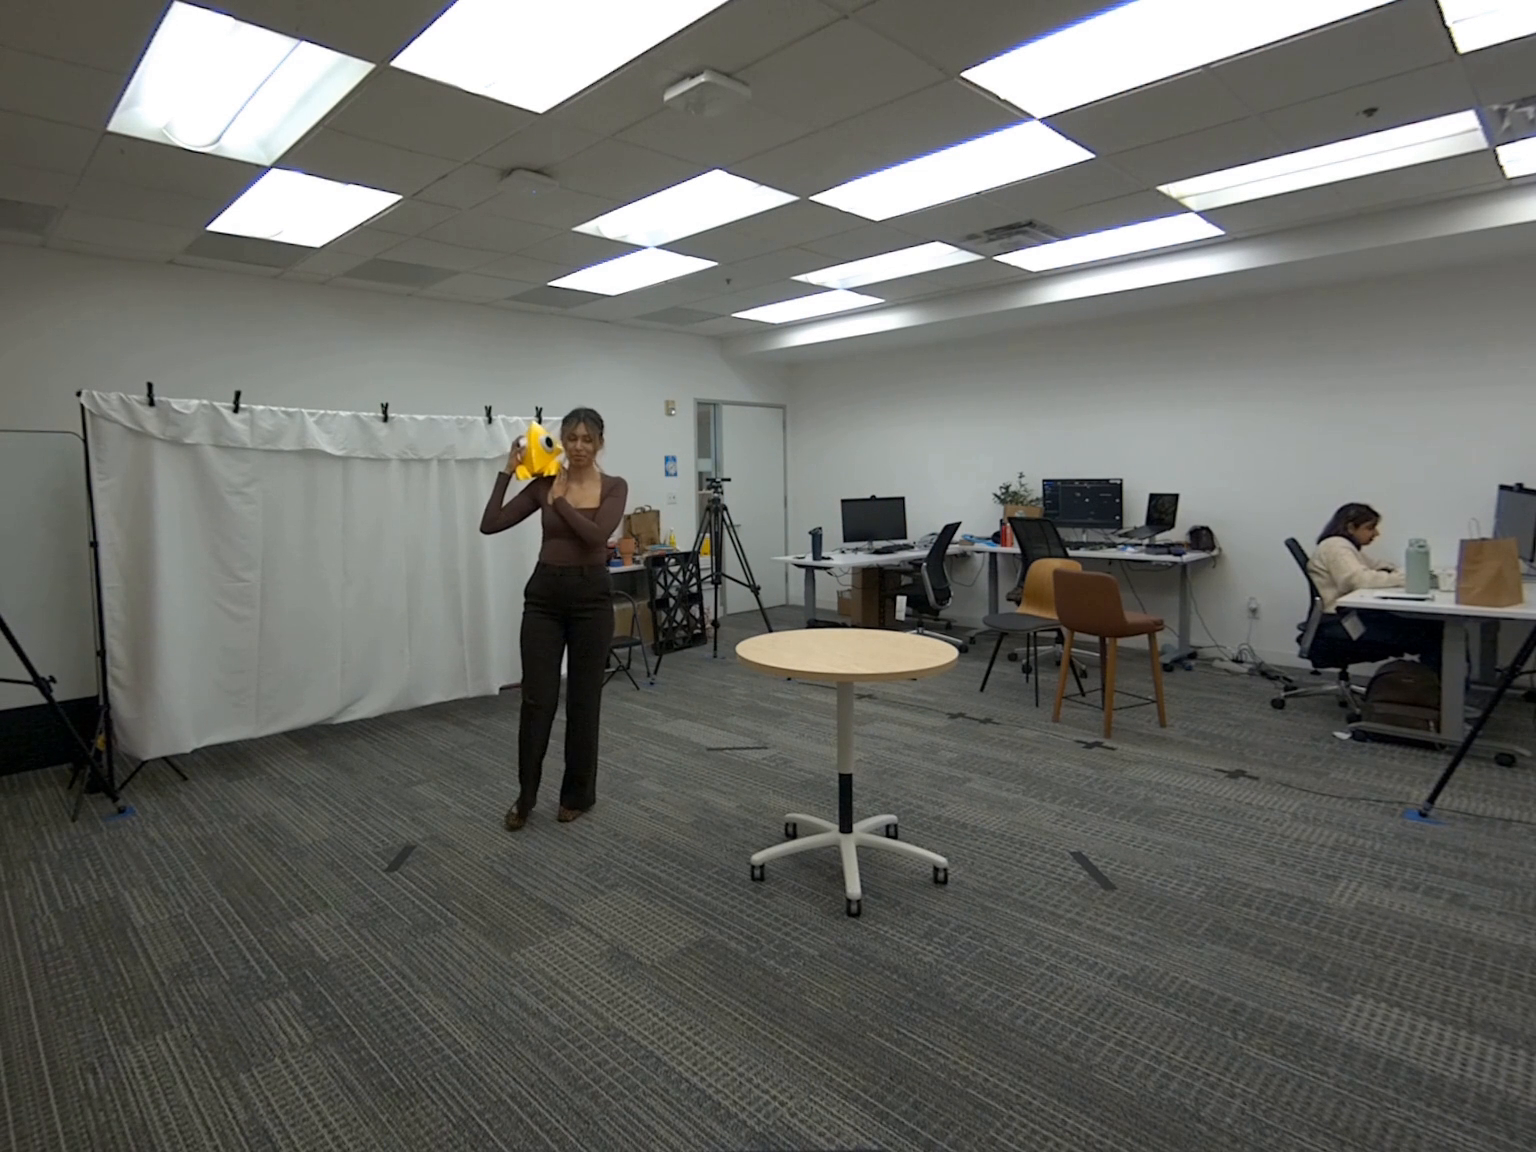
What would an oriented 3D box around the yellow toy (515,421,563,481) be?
[{"bbox_3d":[-0.970,-0.536,3.584,0.205,0.228,0.195,-10,12,0],"label":"yellow toy"}]
